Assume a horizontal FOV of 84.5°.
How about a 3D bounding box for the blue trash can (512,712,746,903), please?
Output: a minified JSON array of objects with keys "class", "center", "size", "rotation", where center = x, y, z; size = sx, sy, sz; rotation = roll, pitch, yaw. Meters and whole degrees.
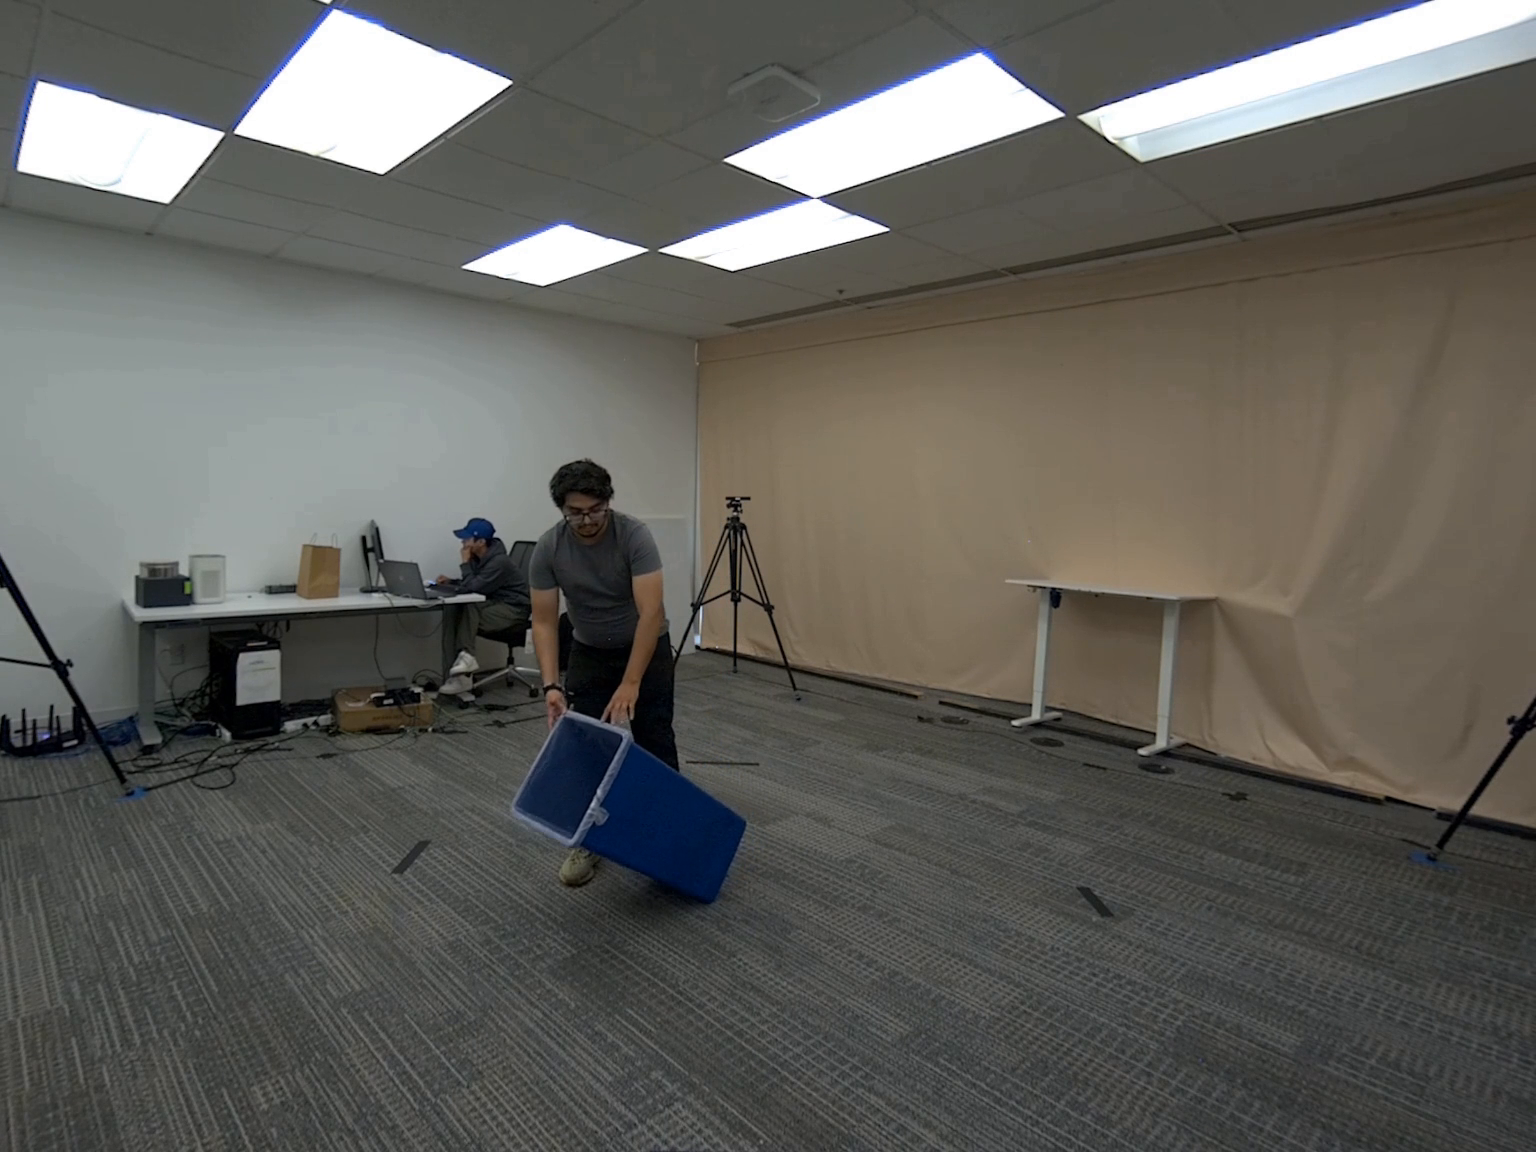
[{"class":"blue trash can","center":[-0.439,0.798,2.831],"size":[0.388,0.376,0.691],"rotation":[5,-28,42]}]
